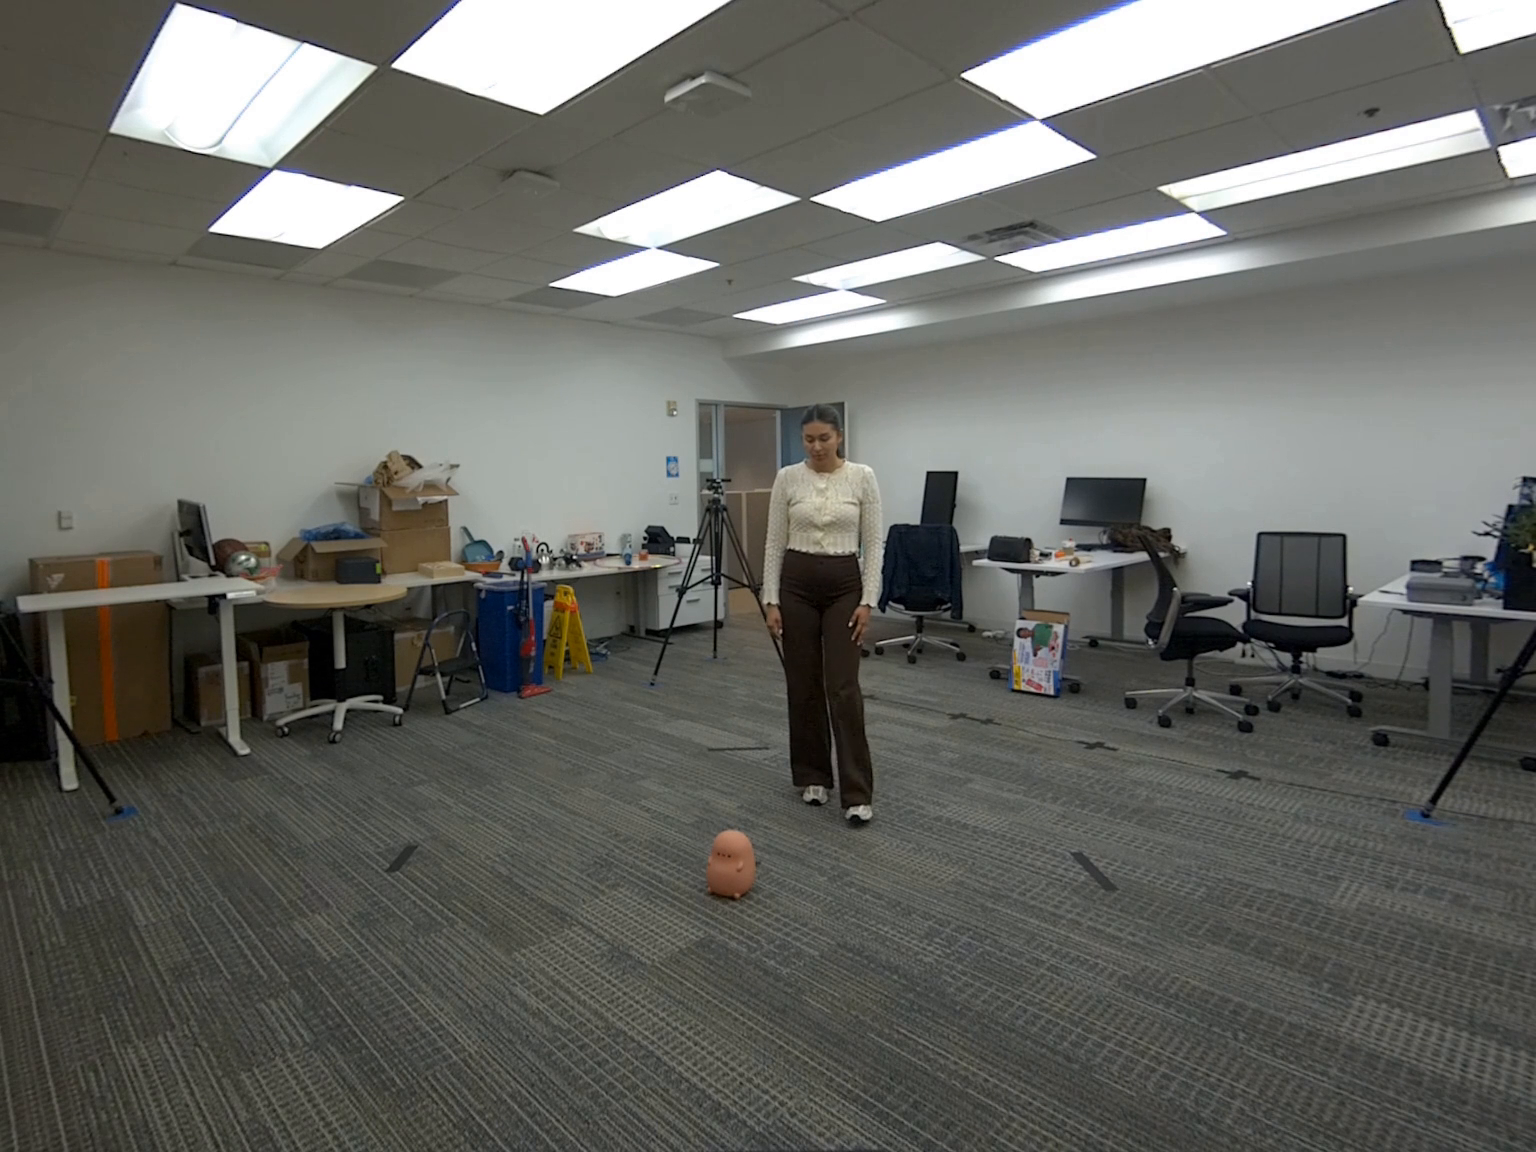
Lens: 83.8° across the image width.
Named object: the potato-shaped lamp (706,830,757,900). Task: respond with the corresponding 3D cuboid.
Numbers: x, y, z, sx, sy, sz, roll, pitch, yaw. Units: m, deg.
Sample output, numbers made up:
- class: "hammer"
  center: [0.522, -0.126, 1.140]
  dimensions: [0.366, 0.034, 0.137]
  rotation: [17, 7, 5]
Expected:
- class: "potato-shaped lamp"
  center: [-0.120, 0.971, 2.902]
  dimensions: [0.169, 0.198, 0.167]
  rotation: [0, 3, 28]
